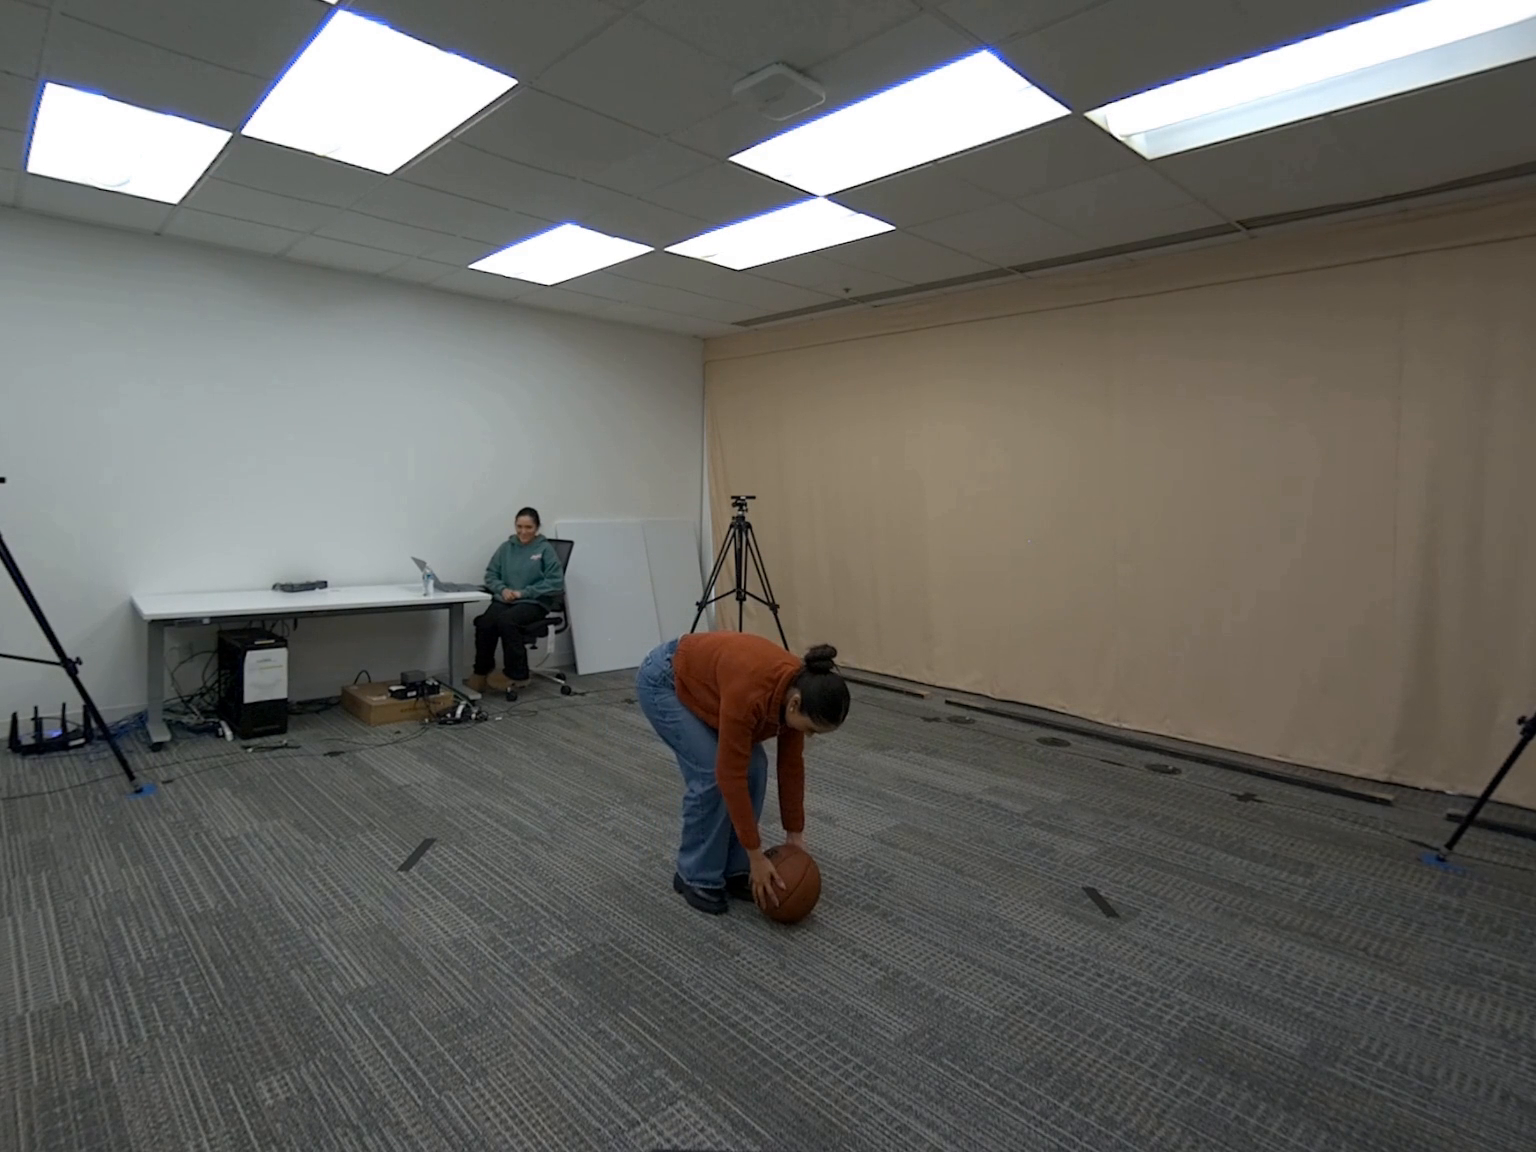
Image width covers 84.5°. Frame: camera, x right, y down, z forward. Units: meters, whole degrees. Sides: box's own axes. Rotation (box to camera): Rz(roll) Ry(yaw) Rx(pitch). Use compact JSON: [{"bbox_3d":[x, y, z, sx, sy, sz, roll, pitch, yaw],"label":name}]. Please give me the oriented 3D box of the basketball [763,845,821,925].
[{"bbox_3d":[0.052,0.996,2.774,0.236,0.235,0.237,1,4,-1],"label":"basketball"}]
